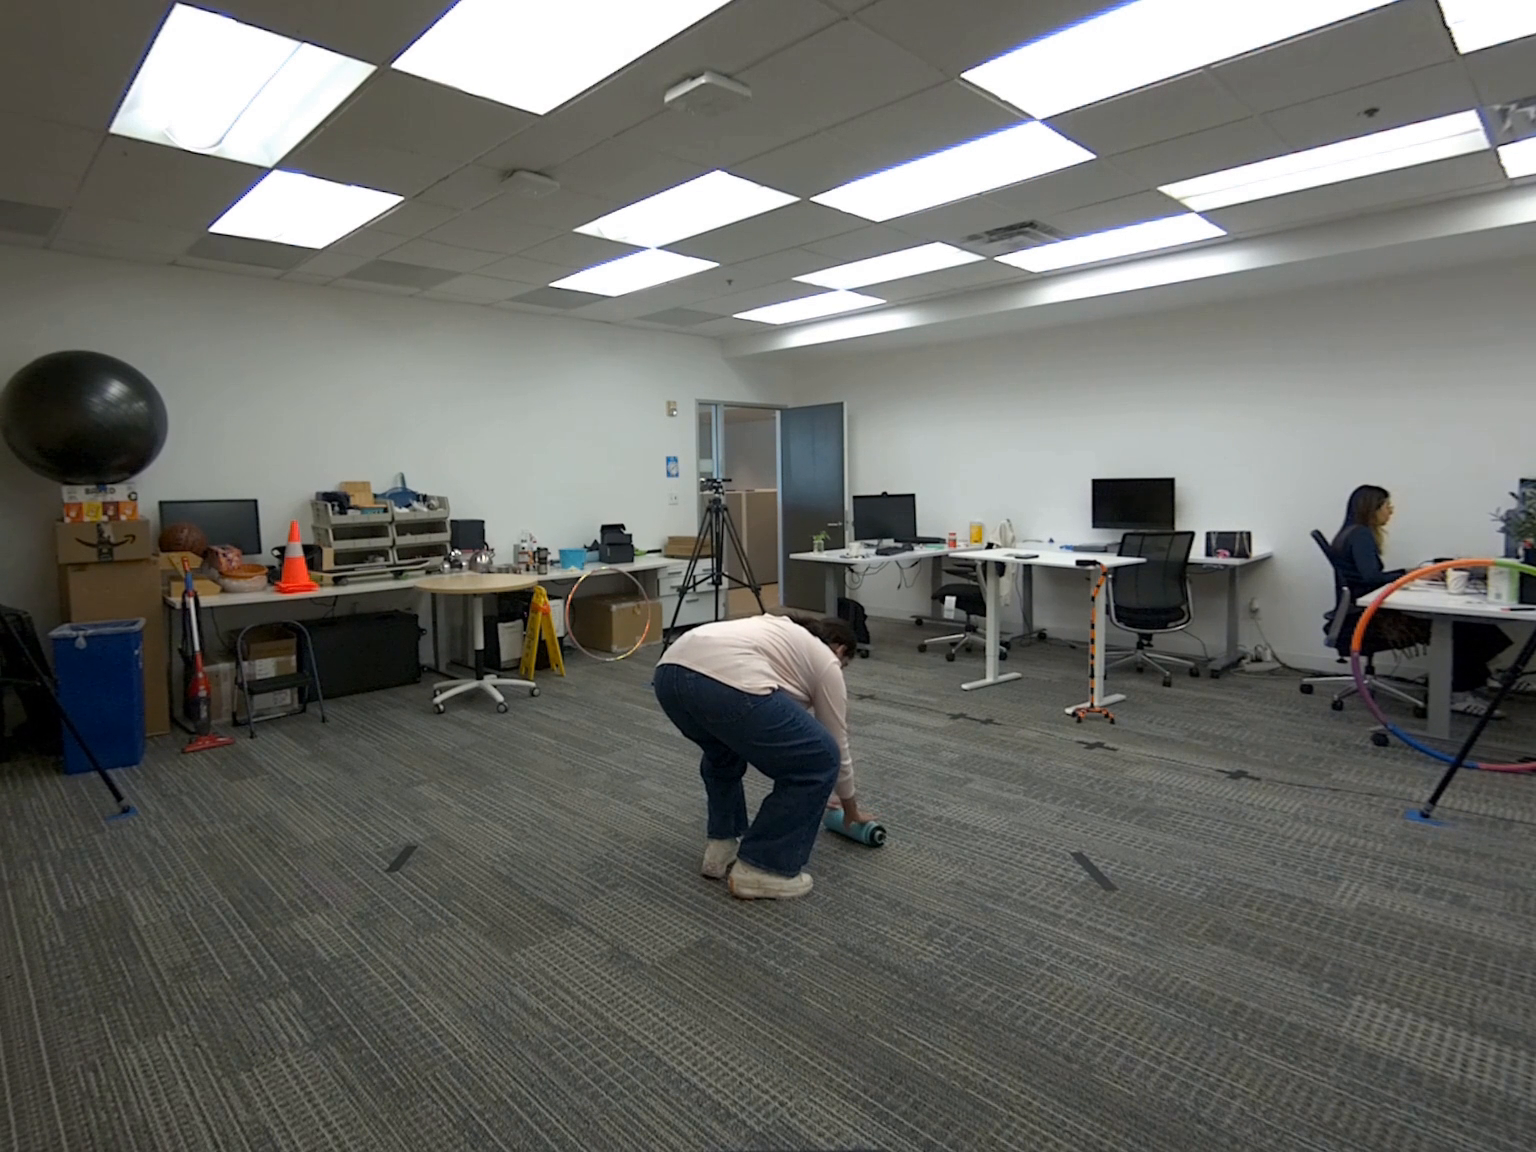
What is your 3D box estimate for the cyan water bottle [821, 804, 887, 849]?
[{"bbox_3d":[0.334,0.965,3.309,0.090,0.092,0.292,-5,8,-40],"label":"cyan water bottle"}]
